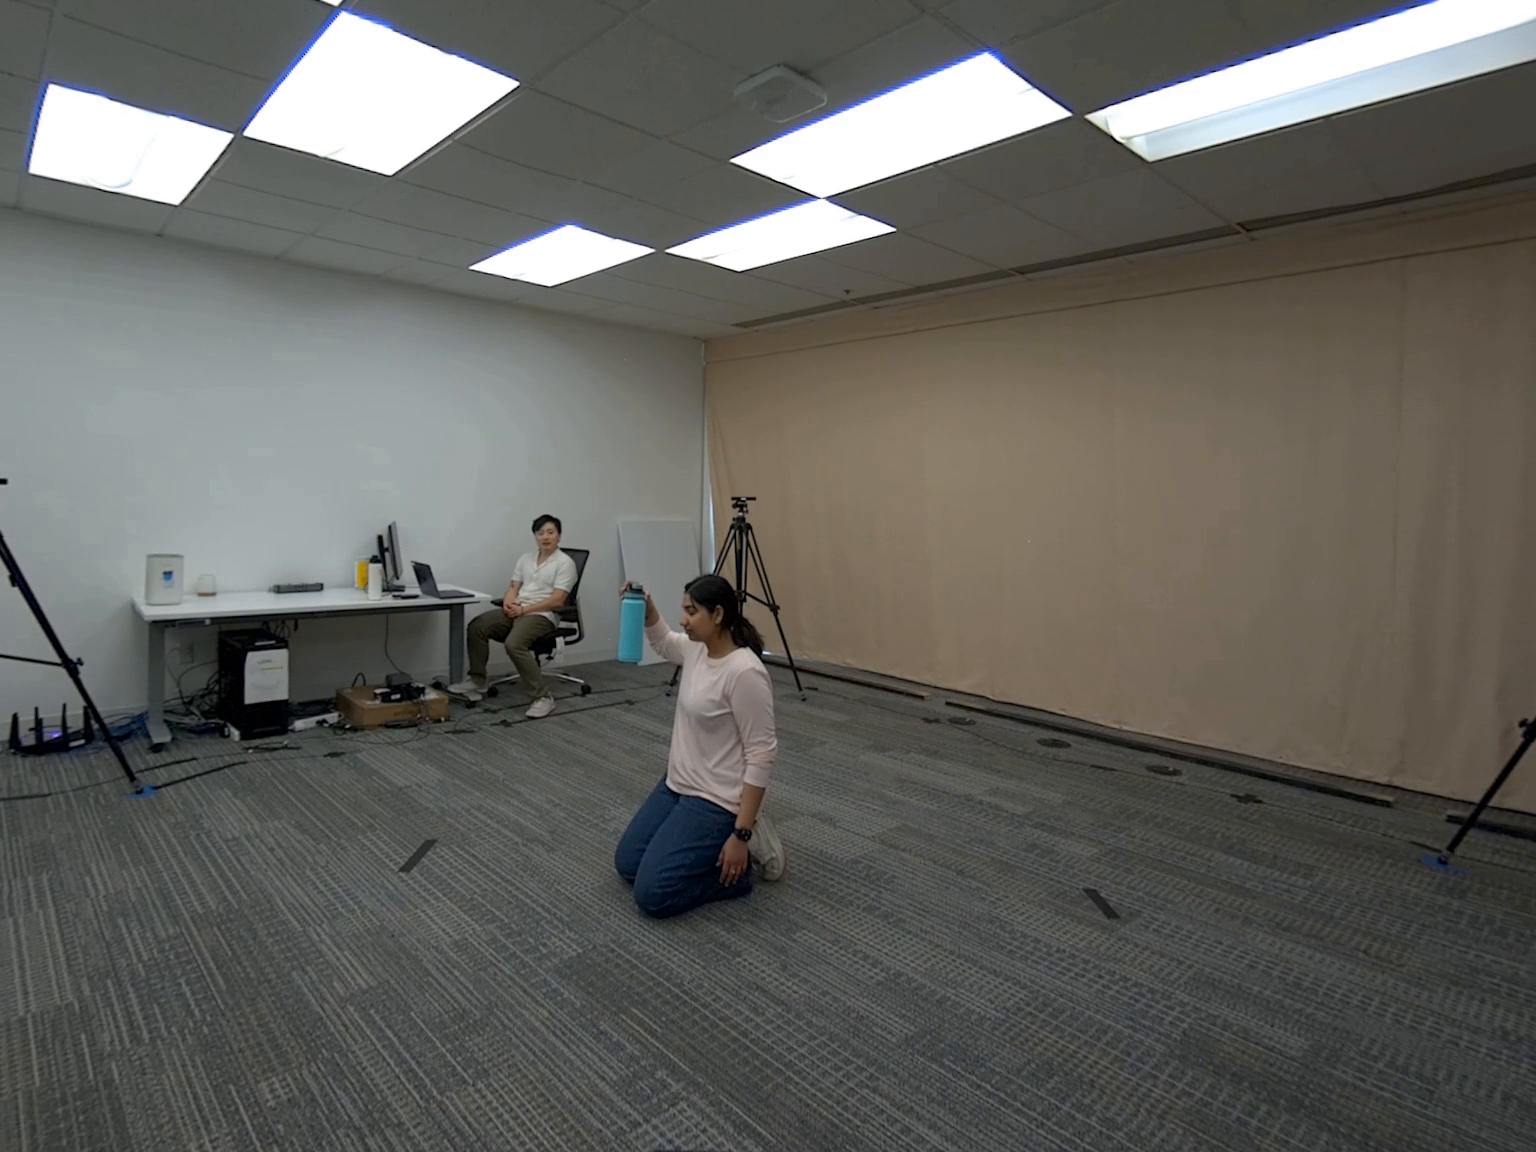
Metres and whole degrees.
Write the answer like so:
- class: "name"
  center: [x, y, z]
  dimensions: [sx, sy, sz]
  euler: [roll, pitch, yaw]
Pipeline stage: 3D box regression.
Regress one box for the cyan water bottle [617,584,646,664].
- class: "cyan water bottle"
  center: [-0.507, 0.177, 3.115]
  dimensions: [0.092, 0.284, 0.092]
  euler: [2, -2, -1]
